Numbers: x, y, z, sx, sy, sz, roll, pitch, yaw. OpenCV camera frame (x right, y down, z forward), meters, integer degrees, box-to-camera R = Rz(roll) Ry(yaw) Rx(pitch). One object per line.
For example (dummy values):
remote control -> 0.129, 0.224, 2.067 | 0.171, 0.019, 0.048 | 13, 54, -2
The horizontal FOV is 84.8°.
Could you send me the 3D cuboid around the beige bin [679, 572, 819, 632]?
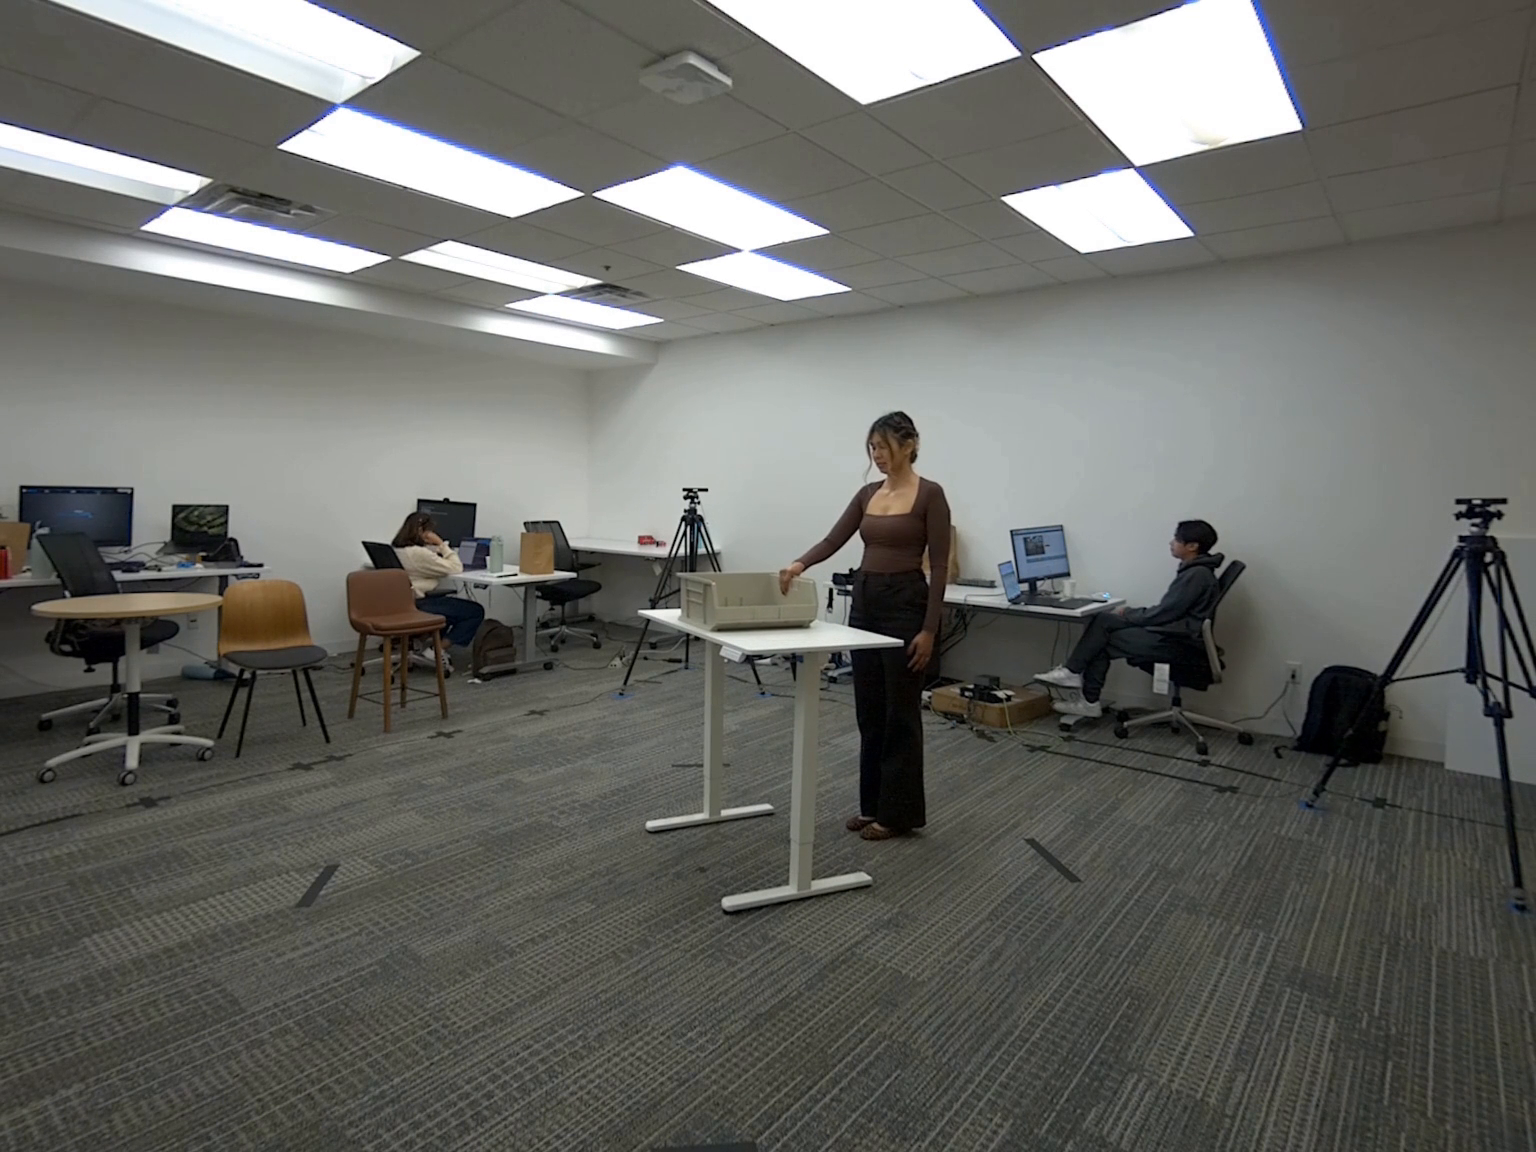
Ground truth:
beige bin -> -0.091, 0.090, 3.197 | 0.412, 0.188, 0.388 | -2, 5, -26
